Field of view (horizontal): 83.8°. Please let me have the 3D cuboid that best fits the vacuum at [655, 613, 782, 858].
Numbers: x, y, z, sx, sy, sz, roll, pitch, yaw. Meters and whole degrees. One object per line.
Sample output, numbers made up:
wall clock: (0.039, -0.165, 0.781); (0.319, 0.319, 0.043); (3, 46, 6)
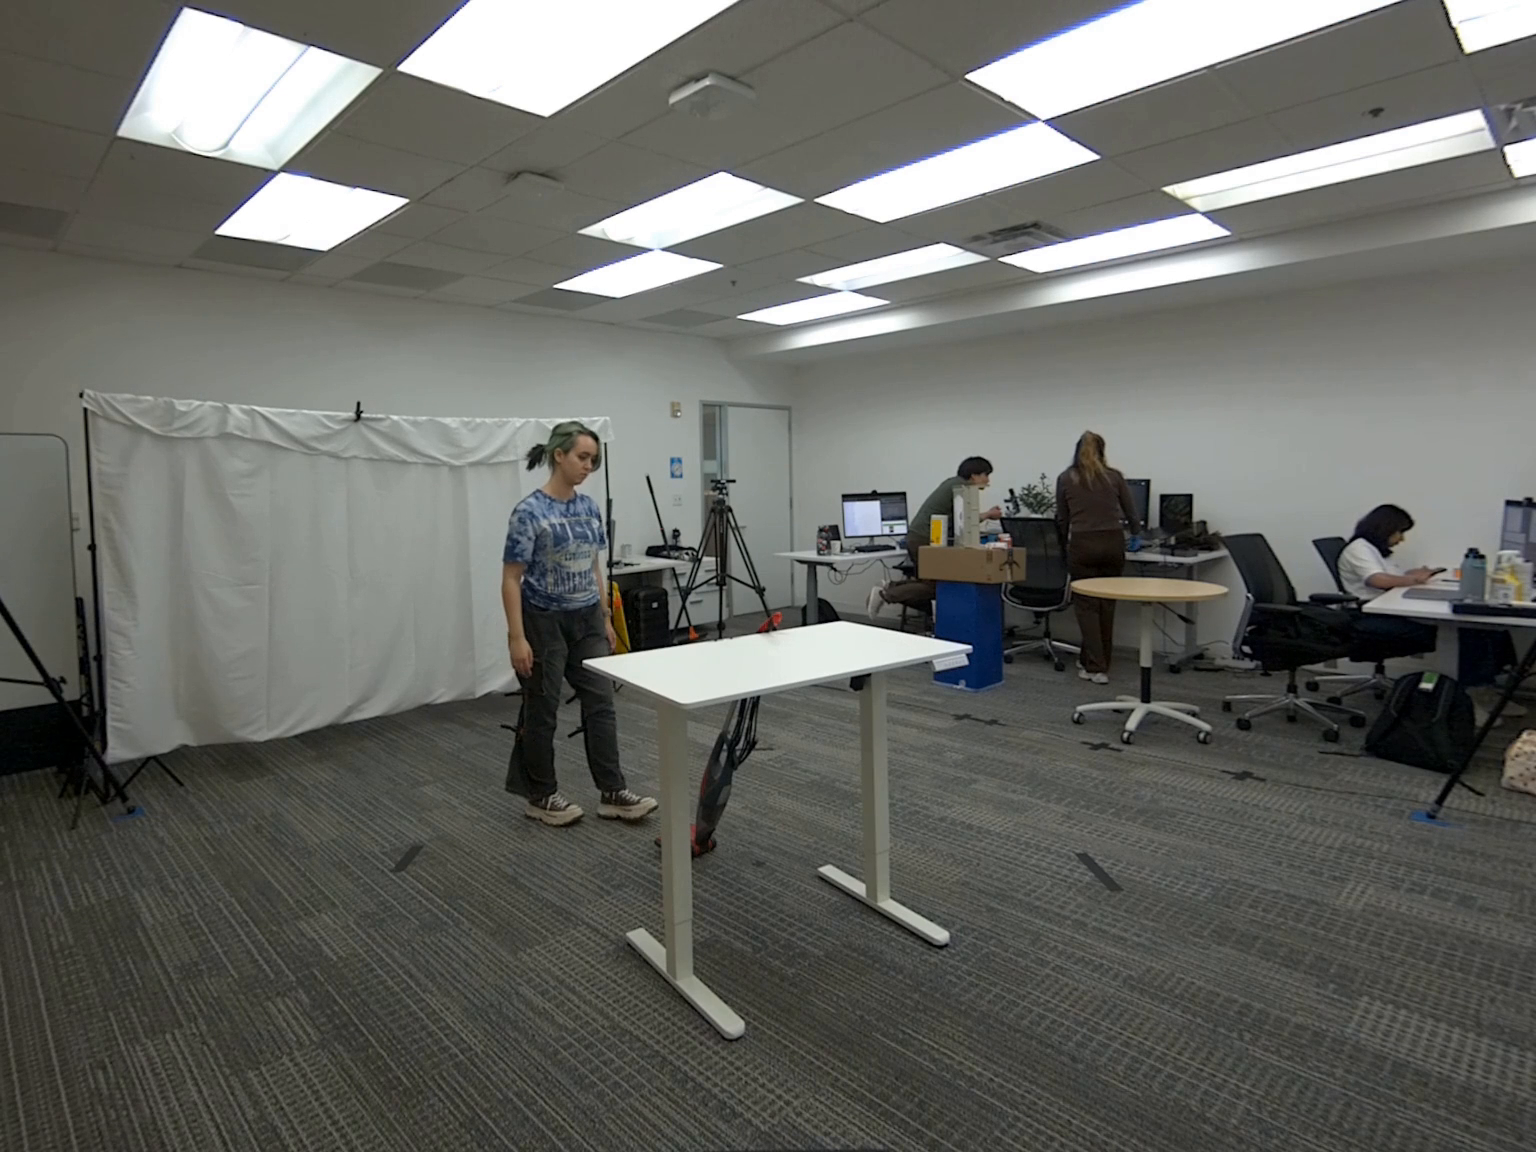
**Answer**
vacuum: (-0.123, 0.579, 3.030); (0.246, 1.037, 0.149); (-6, 35, -46)
